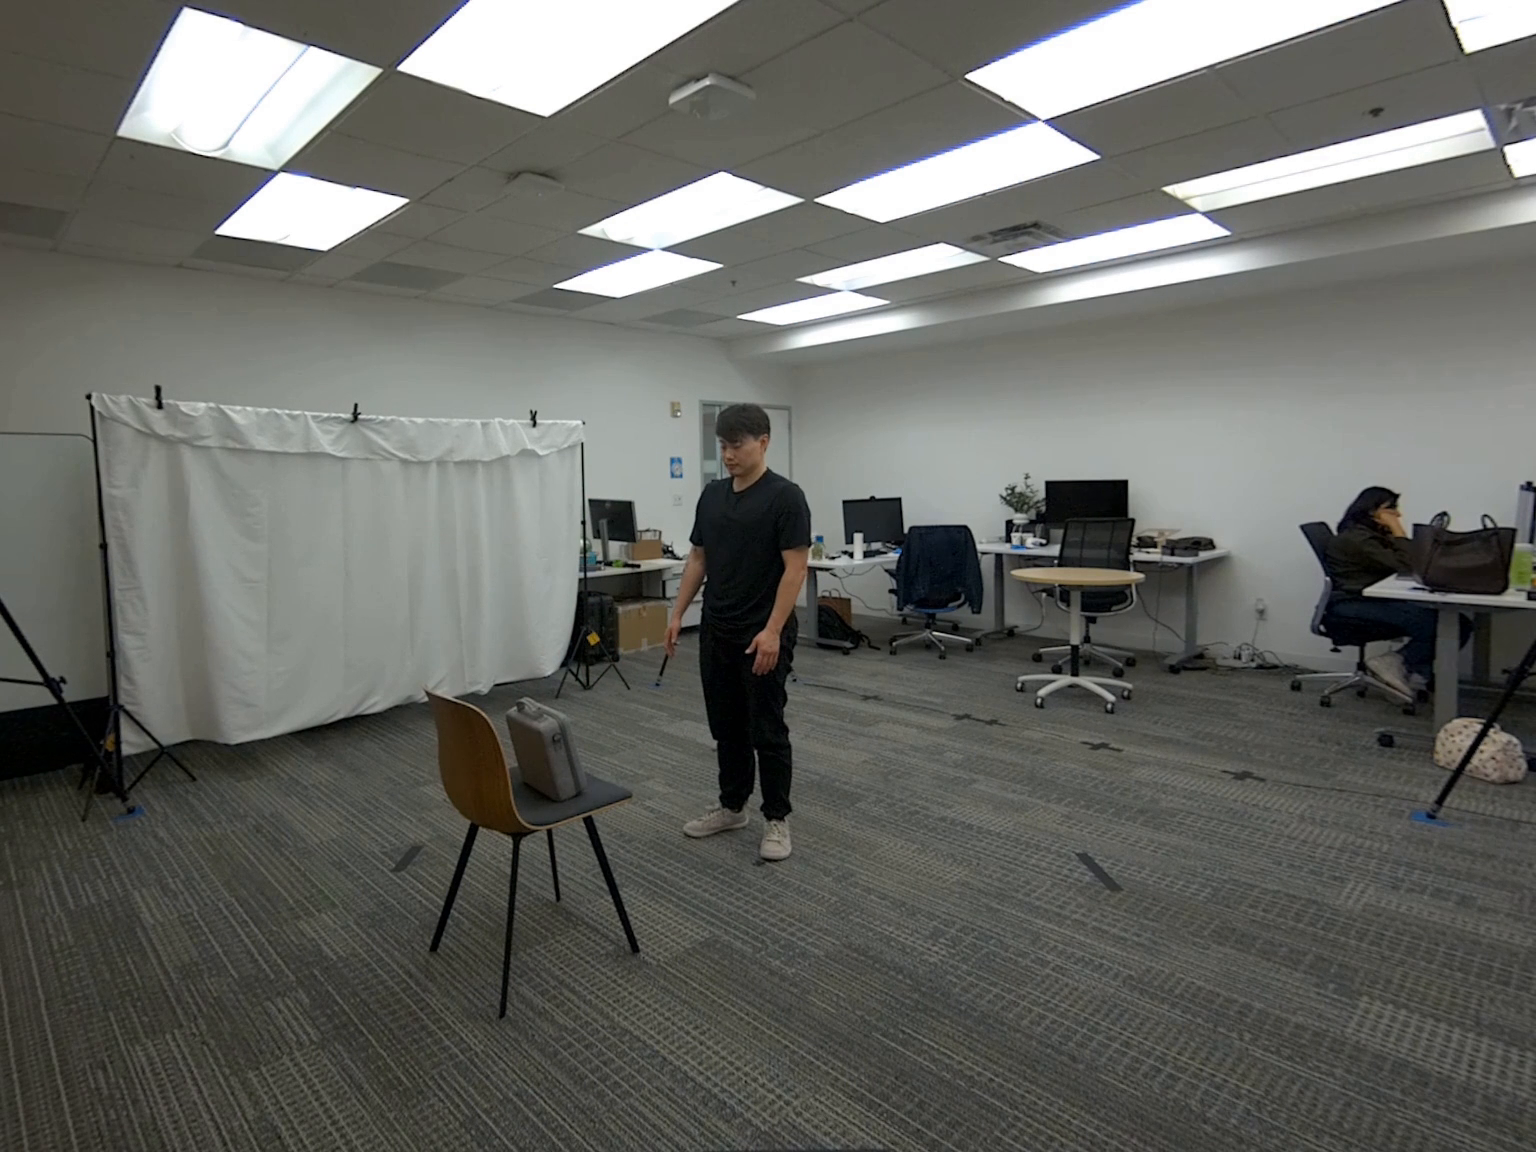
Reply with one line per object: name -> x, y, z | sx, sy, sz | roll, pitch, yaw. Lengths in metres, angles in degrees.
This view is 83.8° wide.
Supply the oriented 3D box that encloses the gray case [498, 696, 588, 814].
gray case -> -0.672, 0.524, 2.546 | 0.102, 0.257, 0.265 | -20, 16, -35
